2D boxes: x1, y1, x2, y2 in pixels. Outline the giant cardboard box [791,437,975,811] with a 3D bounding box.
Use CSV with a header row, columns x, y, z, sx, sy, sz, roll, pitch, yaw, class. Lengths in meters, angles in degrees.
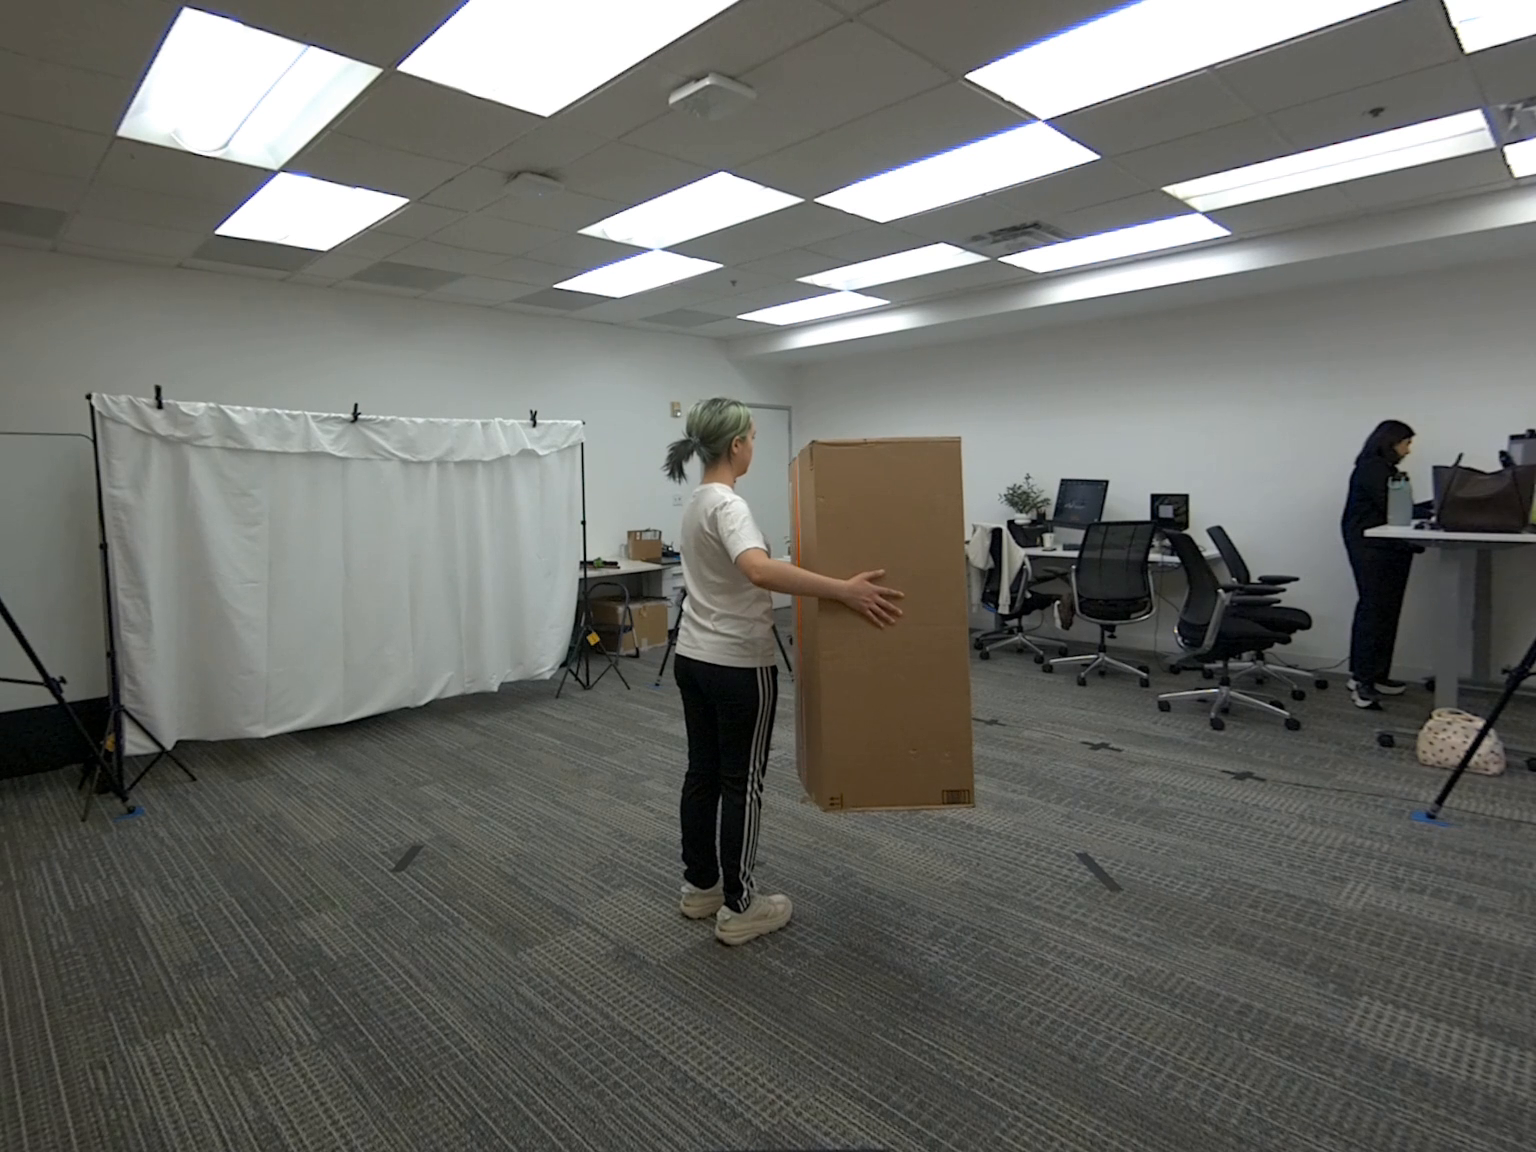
x,y,z,sx,sy,sz,roll,pitch,yaw,class
0.318,0.131,2.632,0.425,1.029,0.578,-1,-3,-5,giant cardboard box
